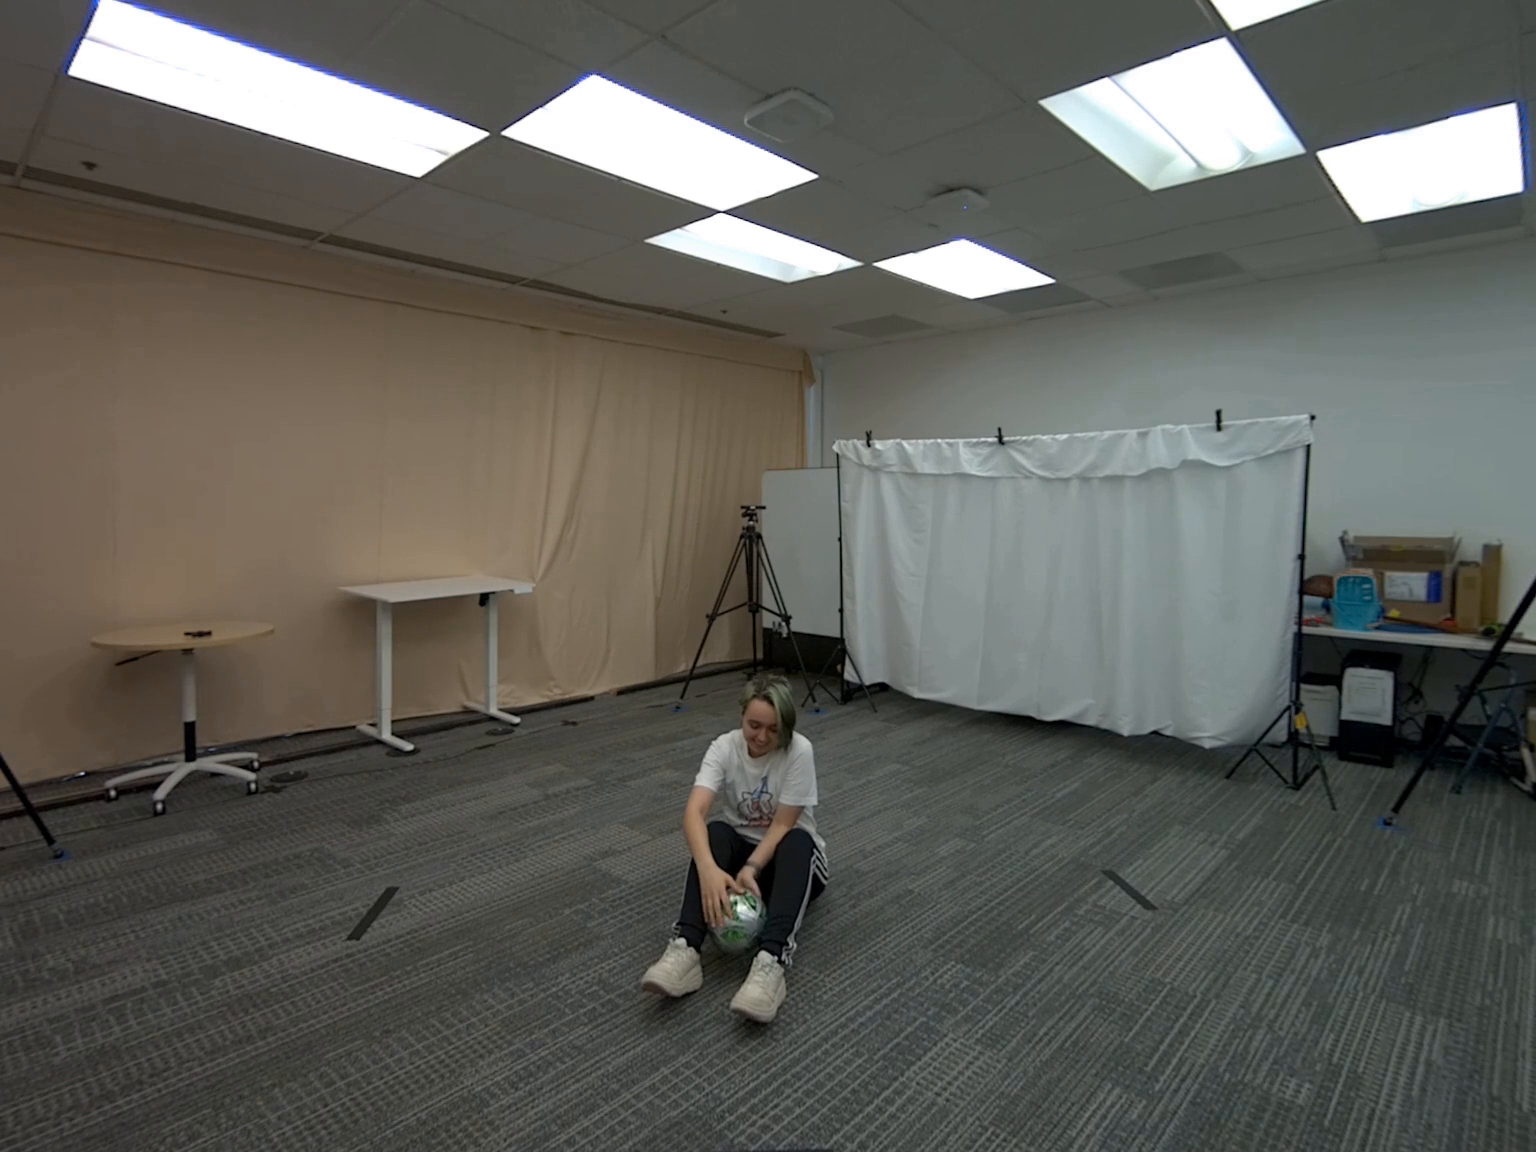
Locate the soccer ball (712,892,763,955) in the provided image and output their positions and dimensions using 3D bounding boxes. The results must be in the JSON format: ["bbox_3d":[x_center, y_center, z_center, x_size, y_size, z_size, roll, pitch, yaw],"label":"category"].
[{"bbox_3d":[-0.103,1.009,2.515,0.187,0.187,0.188,0,4,-2],"label":"soccer ball"}]
